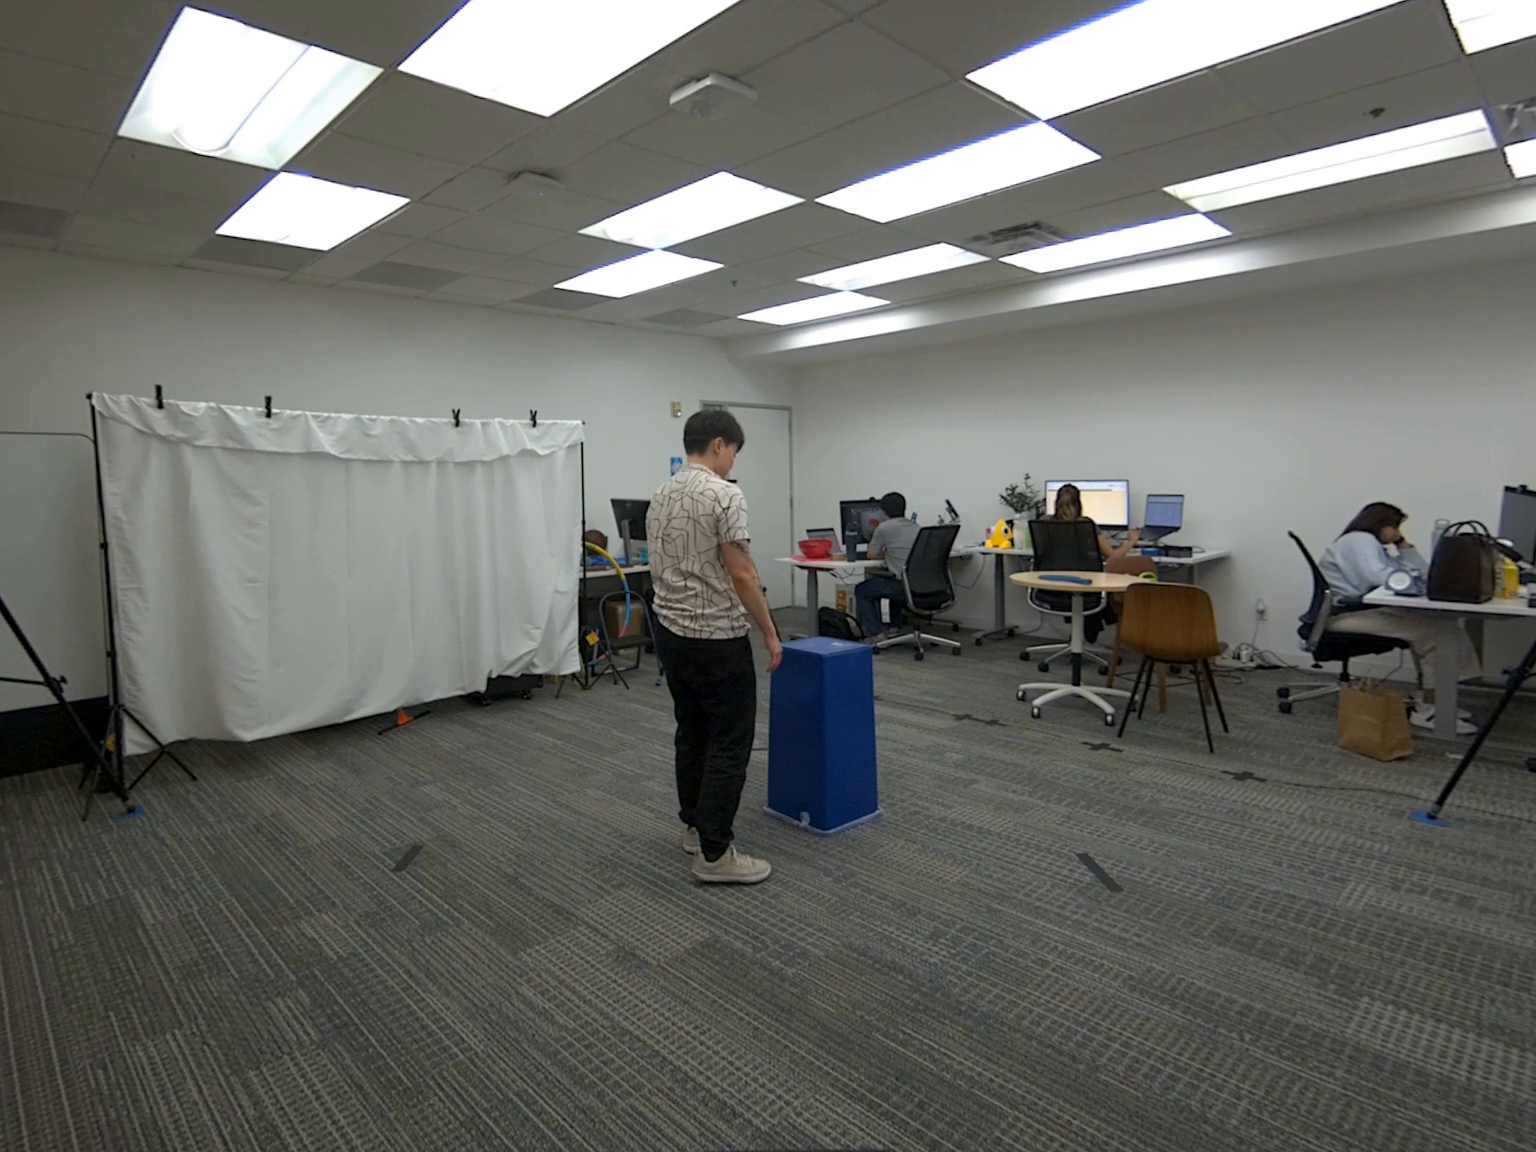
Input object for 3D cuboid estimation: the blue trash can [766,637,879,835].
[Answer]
[{"bbox_3d":[0.225,0.636,3.566,0.368,0.712,0.385,-3,4,-42],"label":"blue trash can"}]
